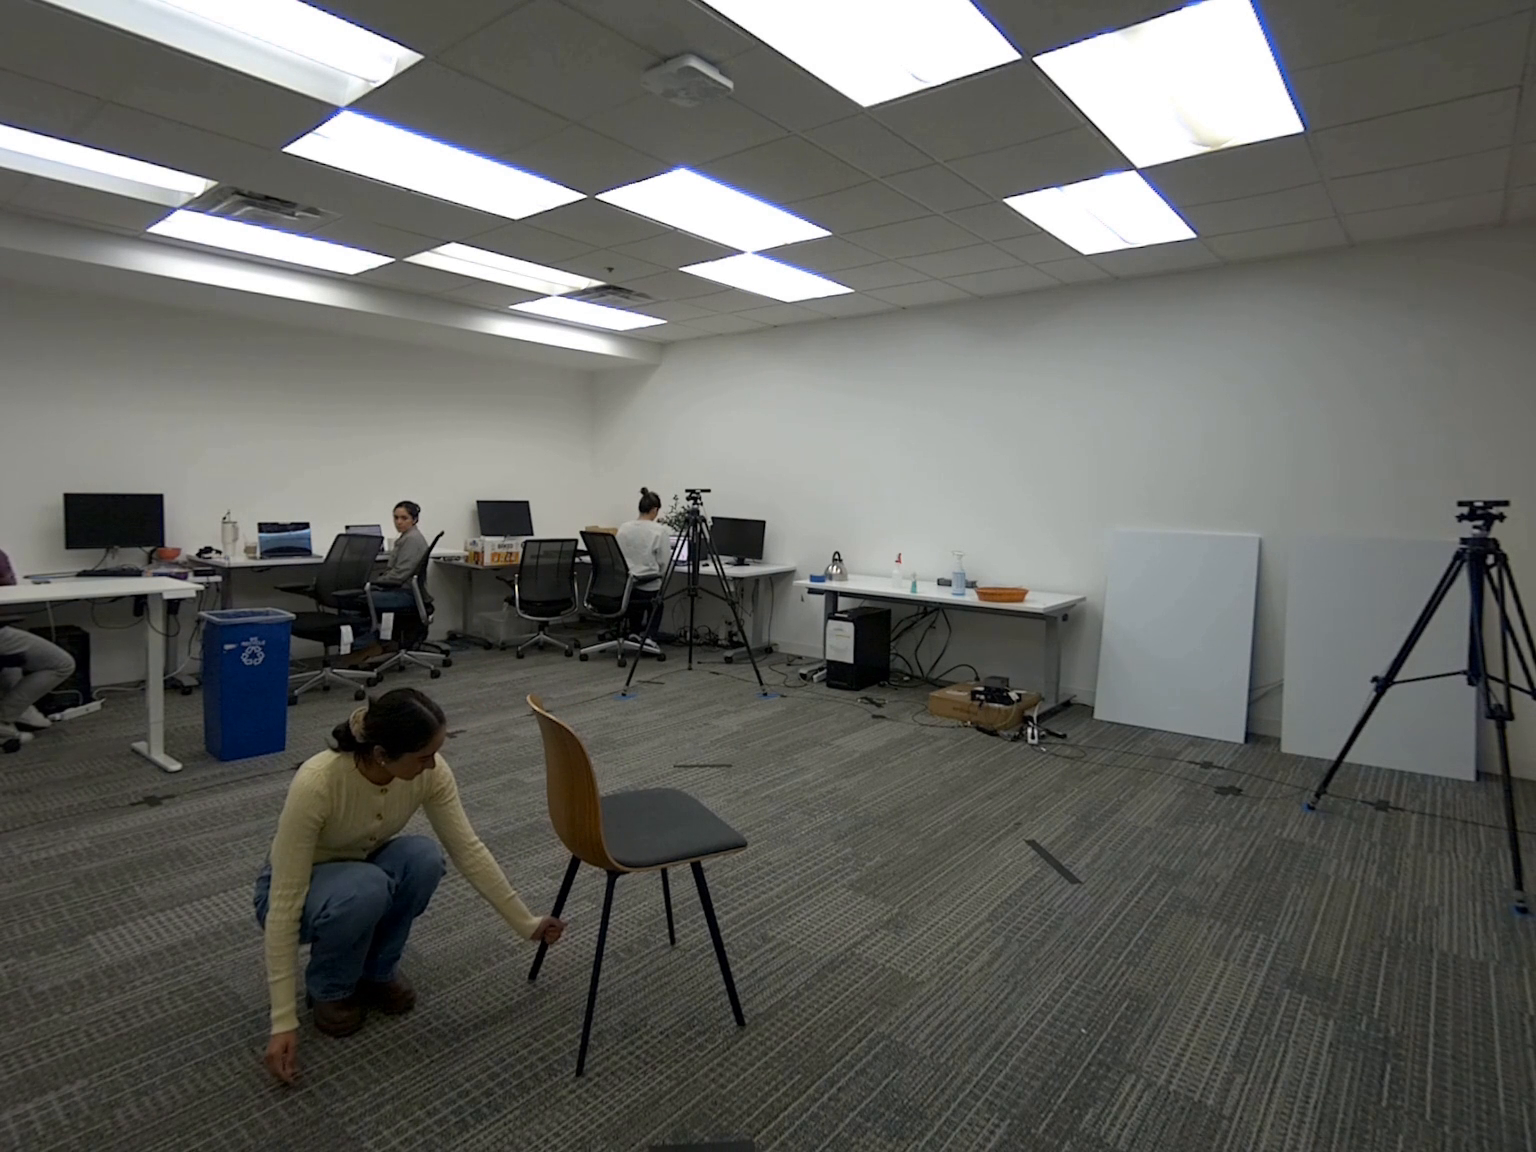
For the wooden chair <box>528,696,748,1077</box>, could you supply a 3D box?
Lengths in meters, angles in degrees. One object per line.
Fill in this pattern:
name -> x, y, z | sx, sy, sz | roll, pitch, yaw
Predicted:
wooden chair -> -0.358, 0.725, 2.286 | 0.511, 0.873, 0.492 | -6, 6, -29
